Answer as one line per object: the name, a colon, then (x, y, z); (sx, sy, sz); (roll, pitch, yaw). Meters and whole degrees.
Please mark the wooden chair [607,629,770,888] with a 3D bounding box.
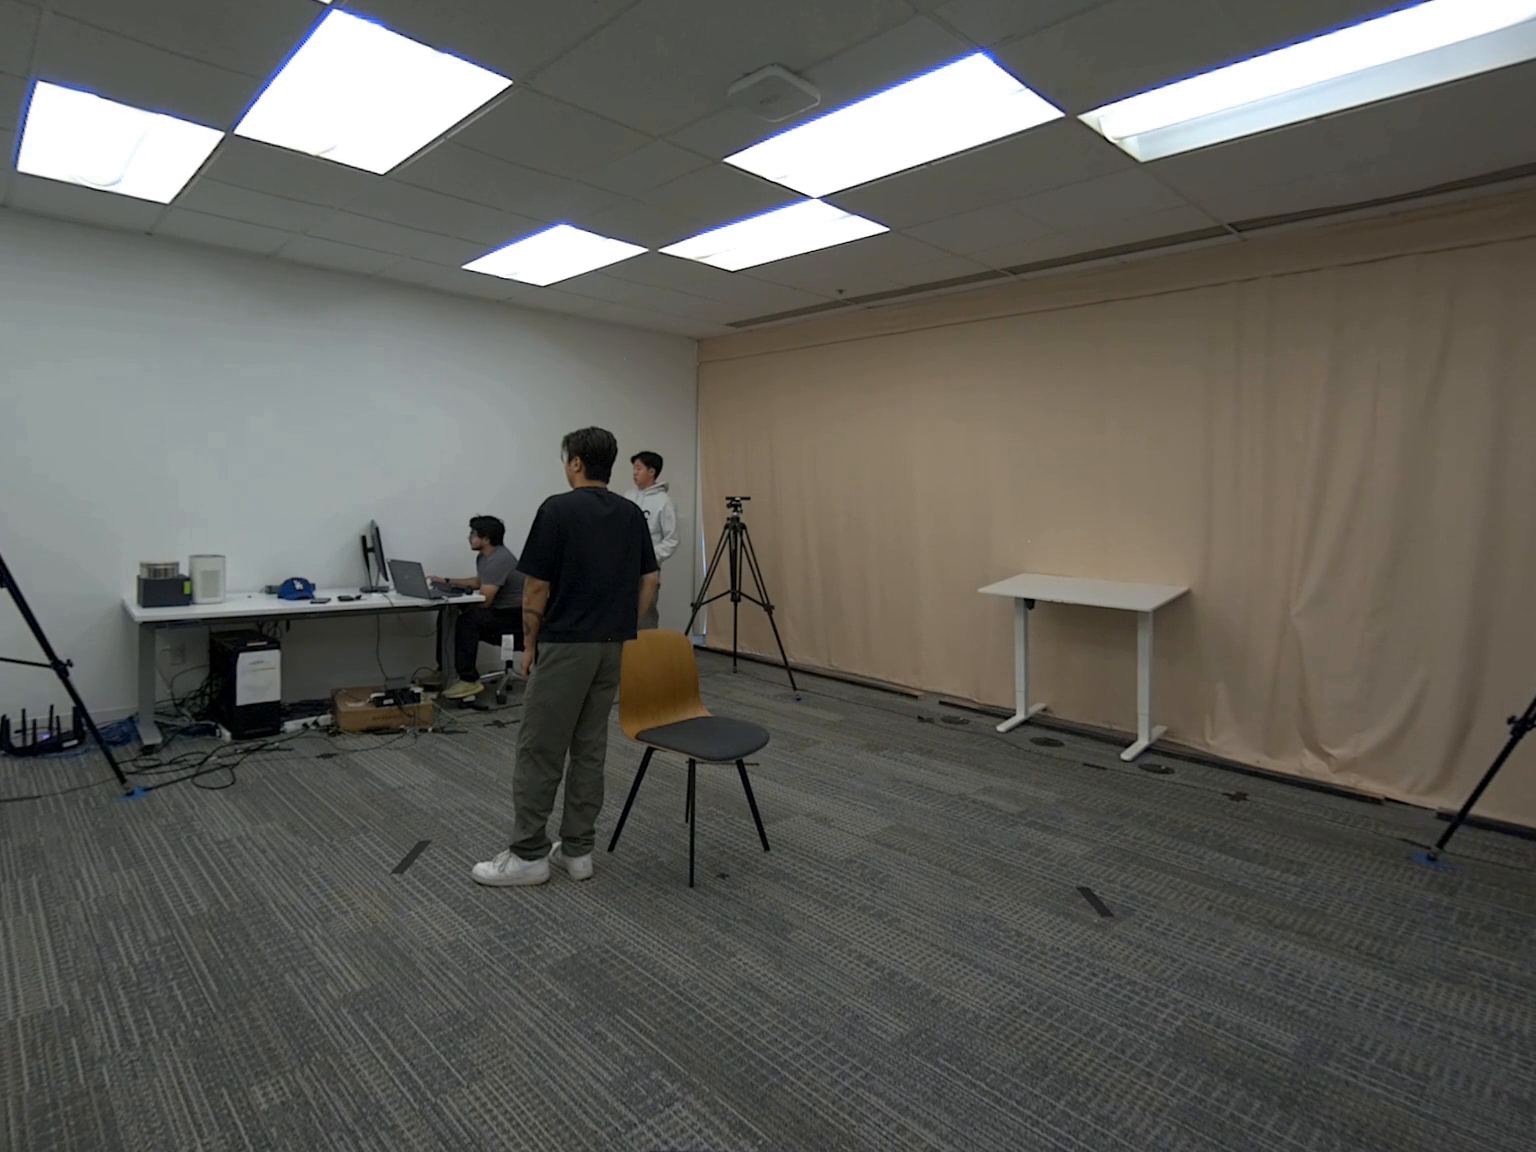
wooden chair: (-0.295, 0.661, 3.284); (0.535, 0.877, 0.467); (-1, 1, 40)
